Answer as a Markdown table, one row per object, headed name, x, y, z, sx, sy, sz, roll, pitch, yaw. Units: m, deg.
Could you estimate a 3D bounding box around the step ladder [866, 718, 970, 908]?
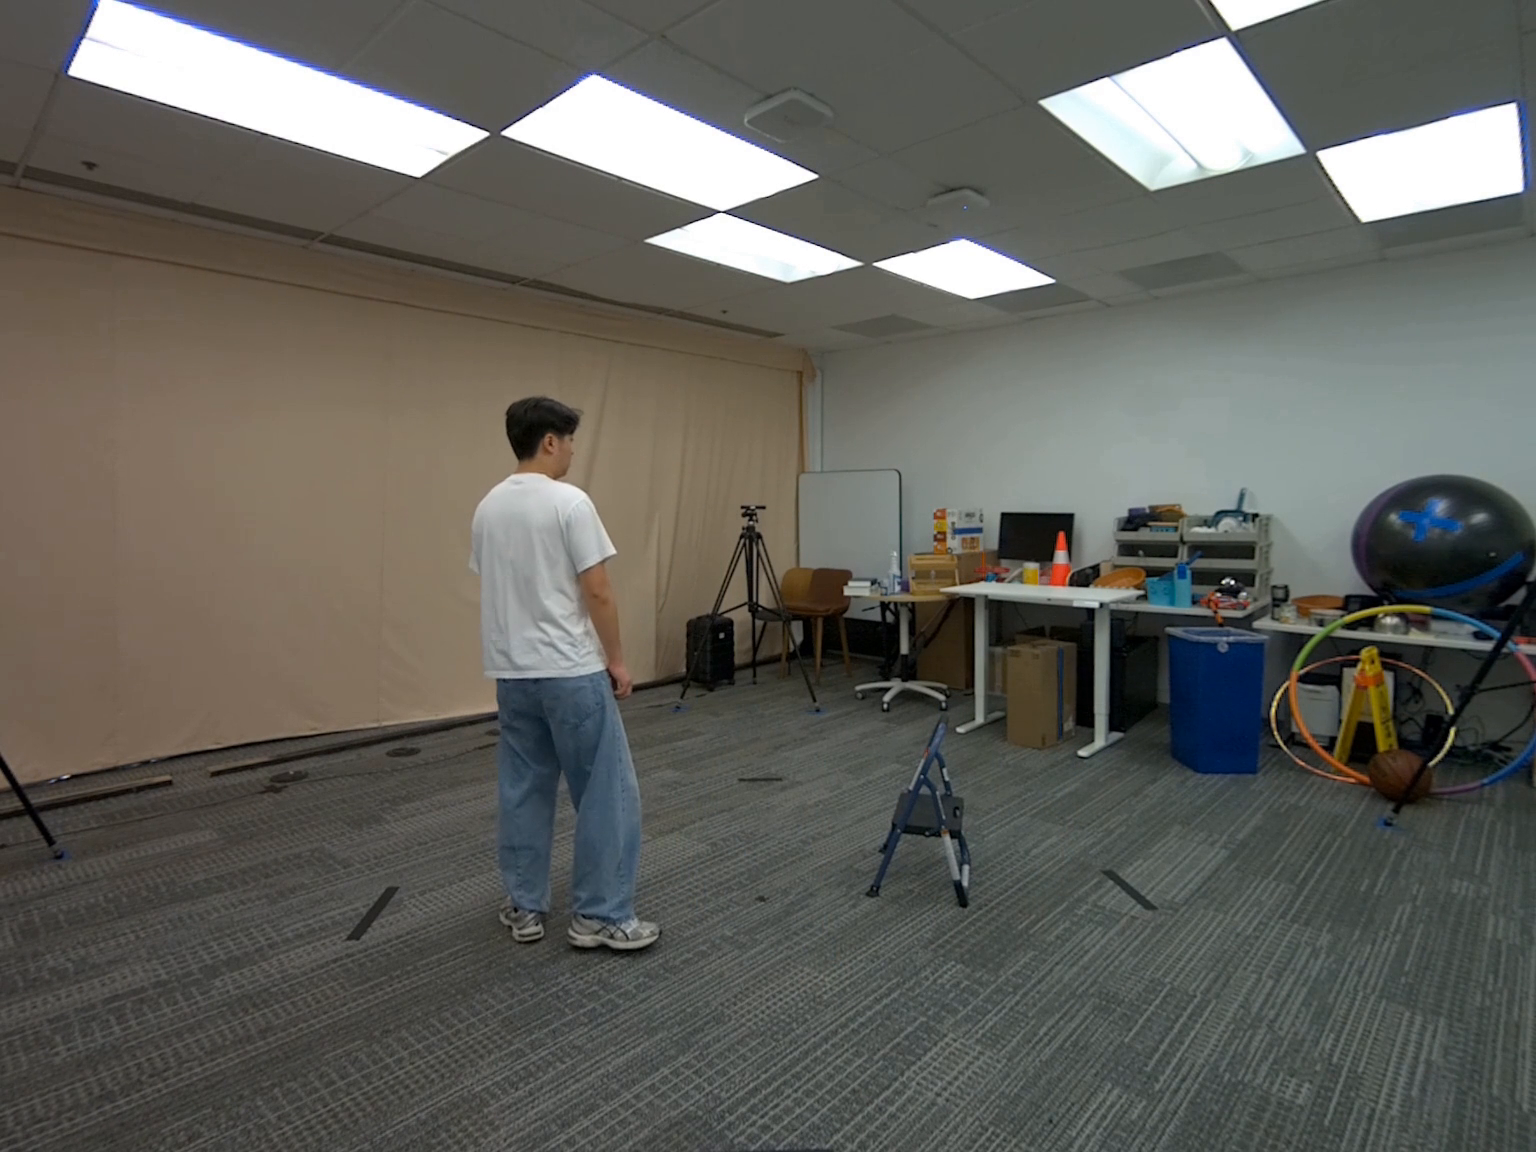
| name | x | y | z | sx | sy | sz | roll | pitch | yaw |
| --- | --- | --- | --- | --- | --- | --- | --- | --- | --- |
| step ladder | 0.576 | 0.825 | 3.134 | 0.355 | 0.605 | 0.424 | 1 | 3 | 16 |
